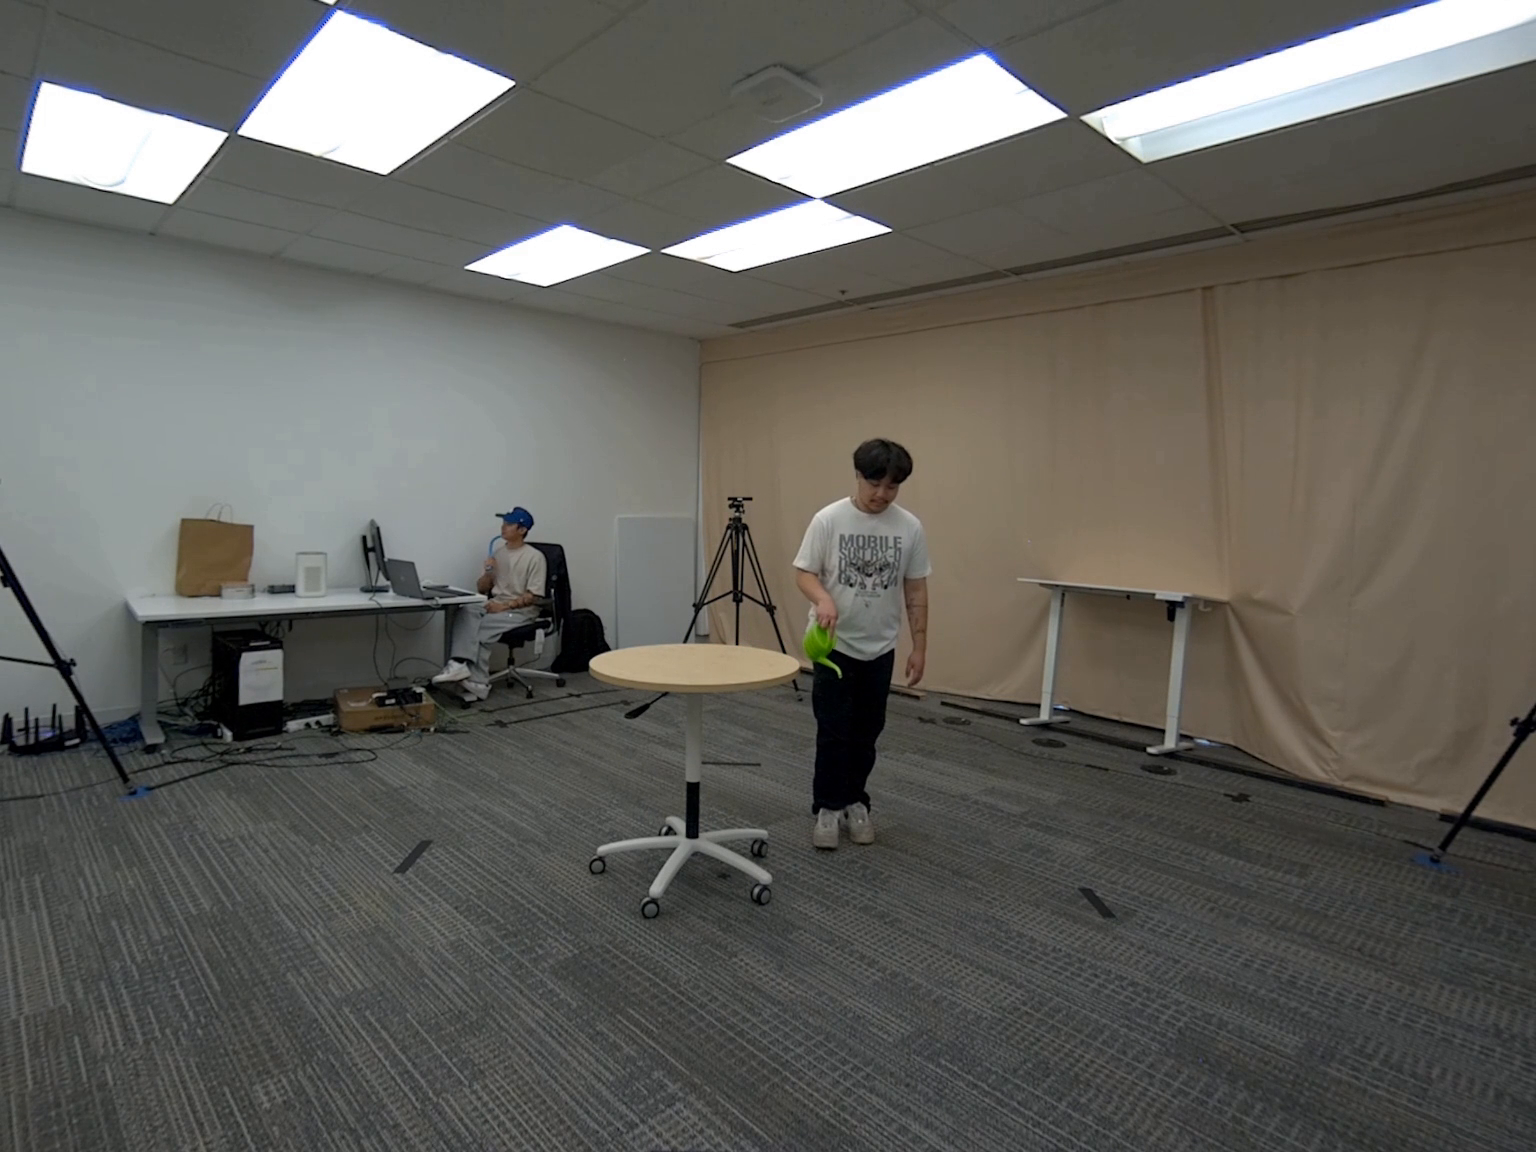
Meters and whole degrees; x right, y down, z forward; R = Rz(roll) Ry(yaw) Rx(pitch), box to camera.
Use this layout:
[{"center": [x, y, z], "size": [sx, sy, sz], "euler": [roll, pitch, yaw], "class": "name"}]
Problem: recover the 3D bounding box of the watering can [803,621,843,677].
[{"center": [0.200, 0.289, 3.272], "size": [0.097, 0.283, 0.175], "euler": [10, -32, -13], "class": "watering can"}]
